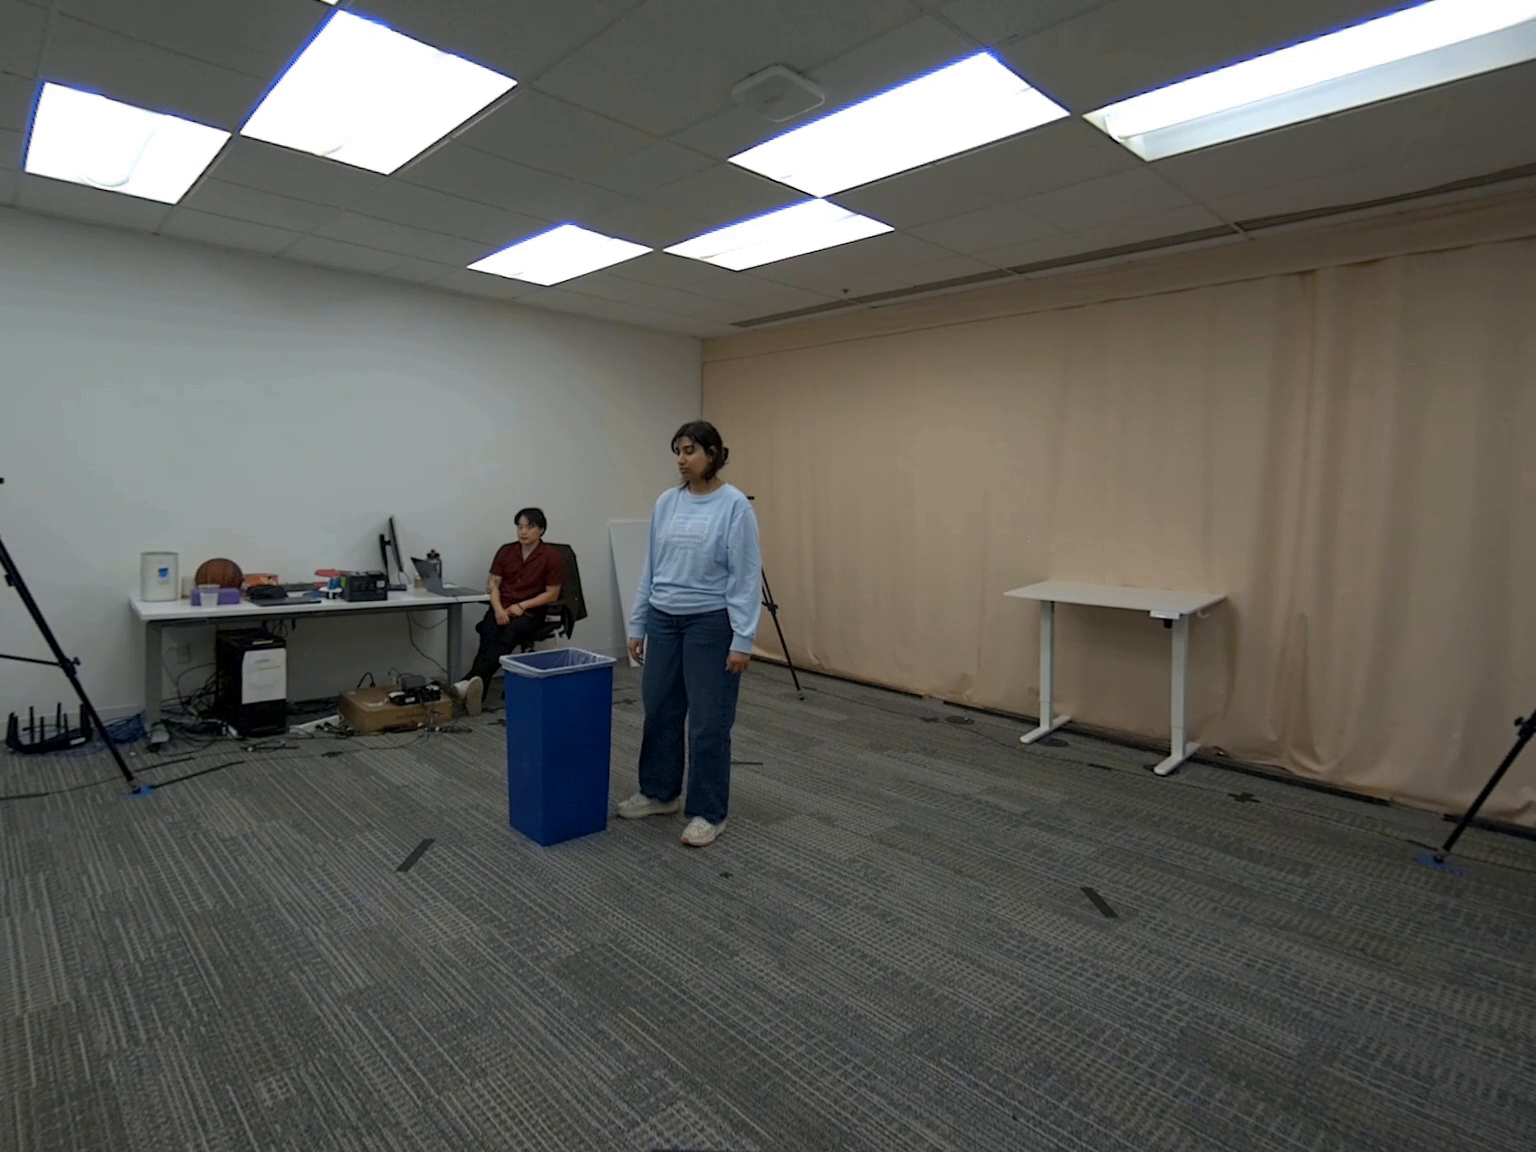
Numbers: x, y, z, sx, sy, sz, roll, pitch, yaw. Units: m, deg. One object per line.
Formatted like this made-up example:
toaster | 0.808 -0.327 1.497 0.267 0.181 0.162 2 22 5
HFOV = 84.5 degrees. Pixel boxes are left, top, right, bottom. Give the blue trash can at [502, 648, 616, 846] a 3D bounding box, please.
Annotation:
blue trash can | -0.883 0.696 3.493 0.365 0.712 0.387 -2 4 -42
